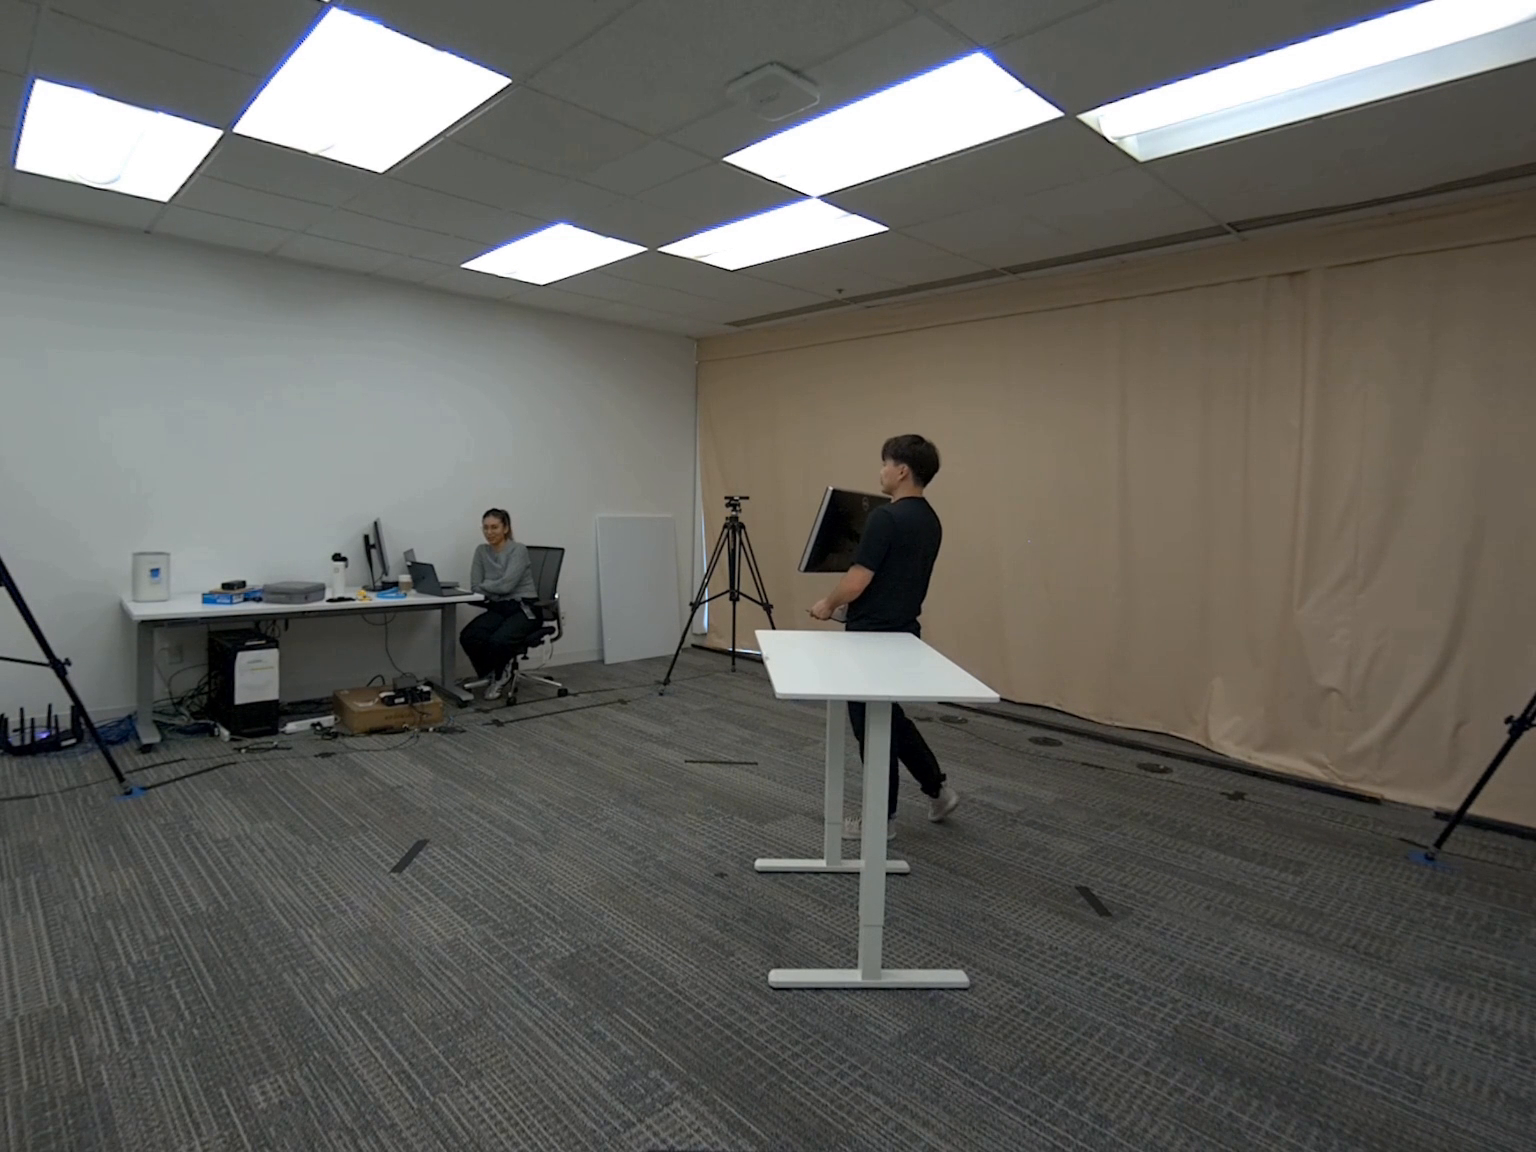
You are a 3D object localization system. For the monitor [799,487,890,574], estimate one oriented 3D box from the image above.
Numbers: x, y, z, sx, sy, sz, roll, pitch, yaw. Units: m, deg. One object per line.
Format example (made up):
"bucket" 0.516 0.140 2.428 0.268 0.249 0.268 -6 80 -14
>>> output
"monitor" 0.342 -0.094 3.568 0.192 0.521 0.527 12 6 32
